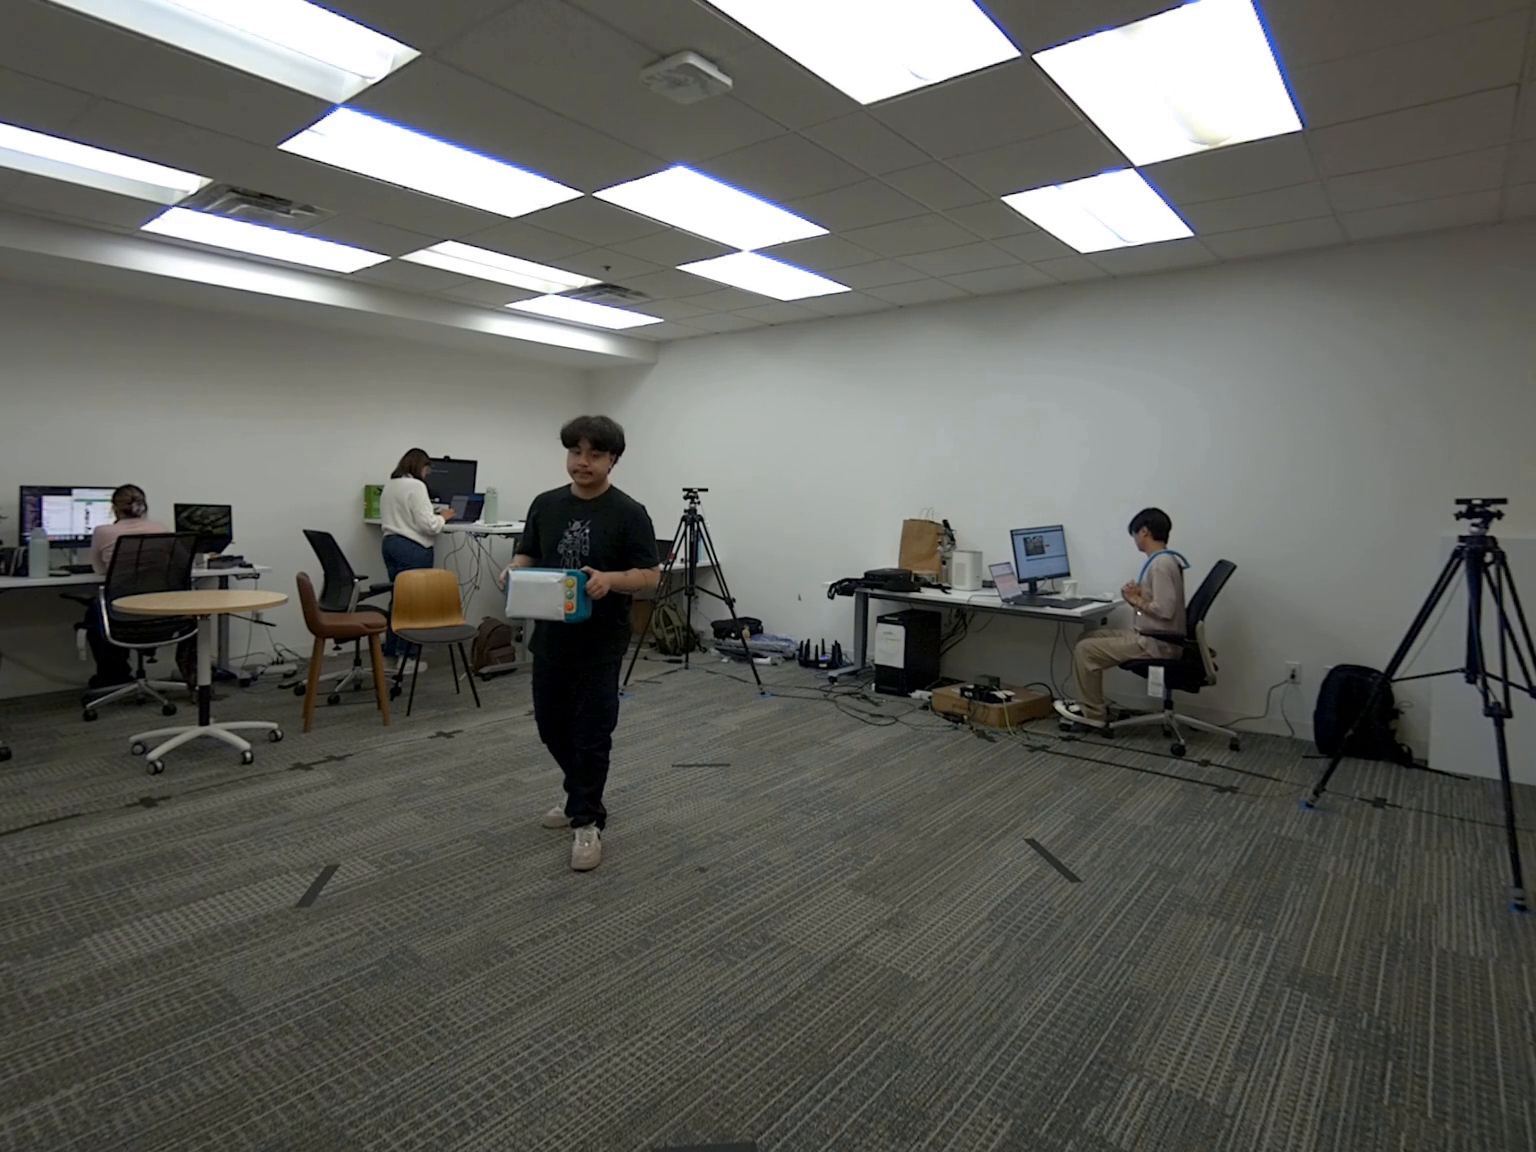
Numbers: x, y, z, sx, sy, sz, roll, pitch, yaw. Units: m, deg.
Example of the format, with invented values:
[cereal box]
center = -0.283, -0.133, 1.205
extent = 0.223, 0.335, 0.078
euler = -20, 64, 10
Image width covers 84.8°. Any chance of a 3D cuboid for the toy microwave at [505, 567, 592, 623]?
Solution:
[toy microwave]
center = -0.791, 0.060, 2.992
extent = 0.290, 0.184, 0.150
euler = 2, 0, 13
